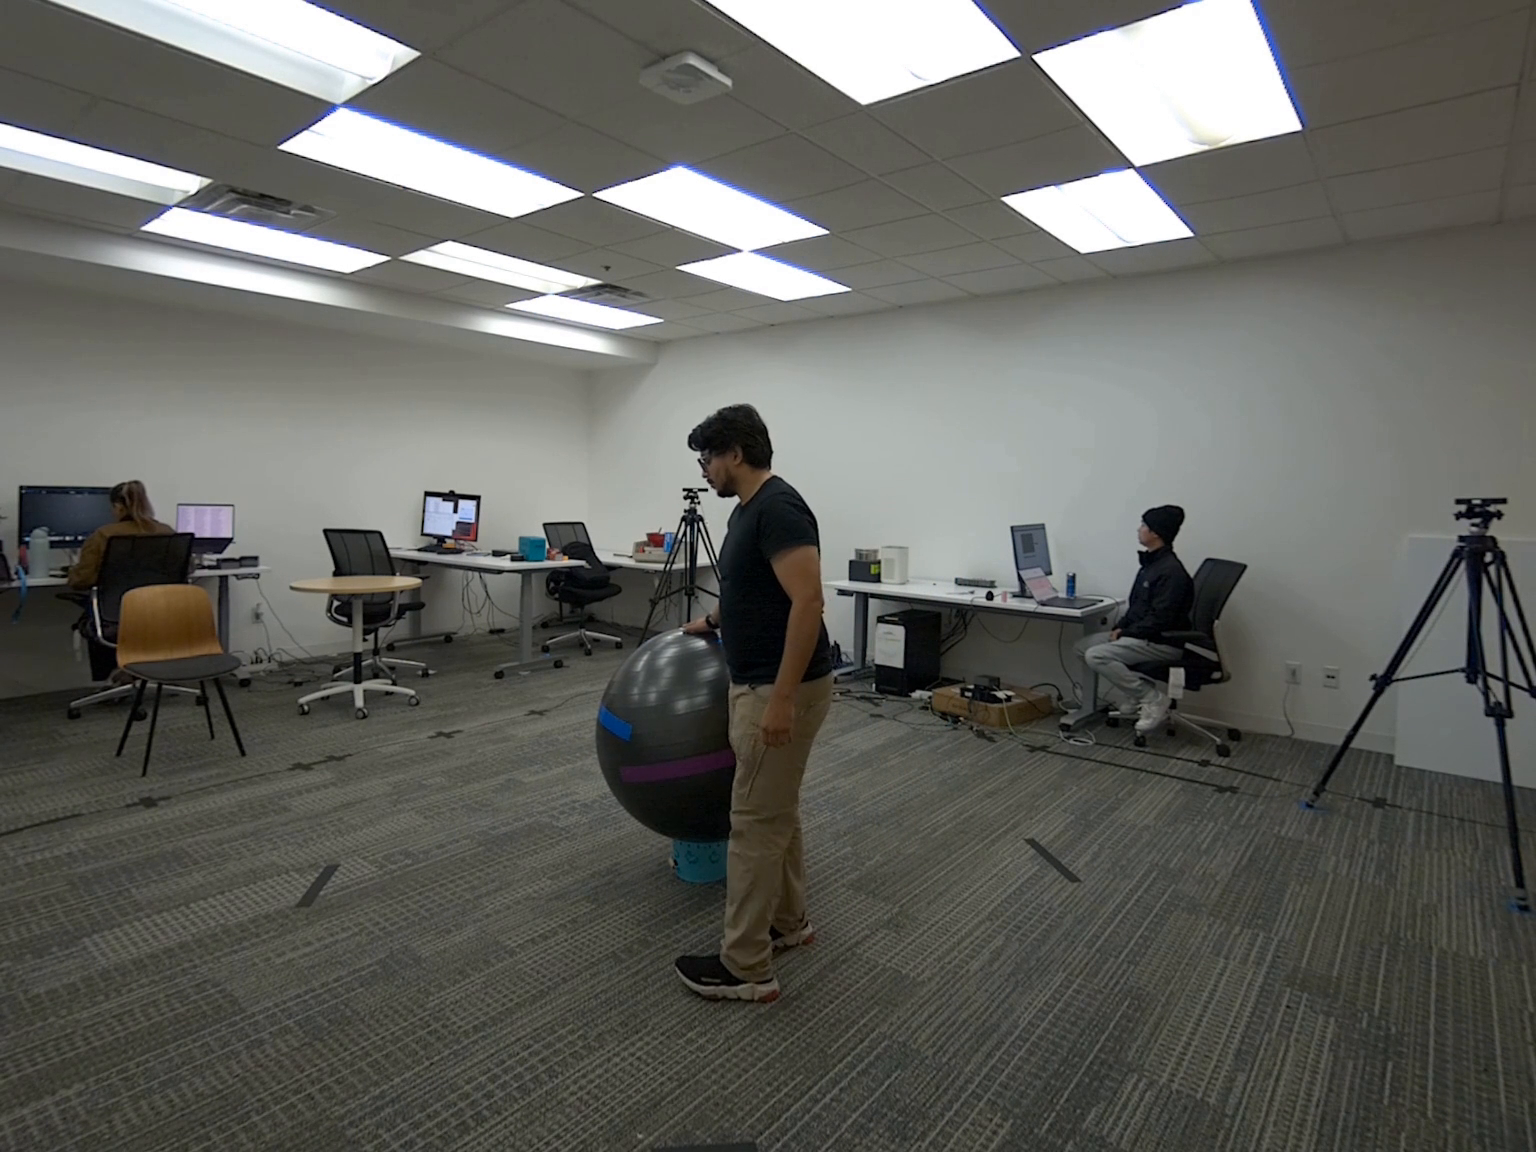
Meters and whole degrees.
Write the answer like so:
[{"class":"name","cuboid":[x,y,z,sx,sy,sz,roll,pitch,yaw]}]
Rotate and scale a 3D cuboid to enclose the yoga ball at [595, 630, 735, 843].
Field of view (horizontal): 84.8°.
[{"class":"yoga ball","cuboid":[-0.253,0.562,3.067,0.757,0.756,0.762,1,4,-2]}]
